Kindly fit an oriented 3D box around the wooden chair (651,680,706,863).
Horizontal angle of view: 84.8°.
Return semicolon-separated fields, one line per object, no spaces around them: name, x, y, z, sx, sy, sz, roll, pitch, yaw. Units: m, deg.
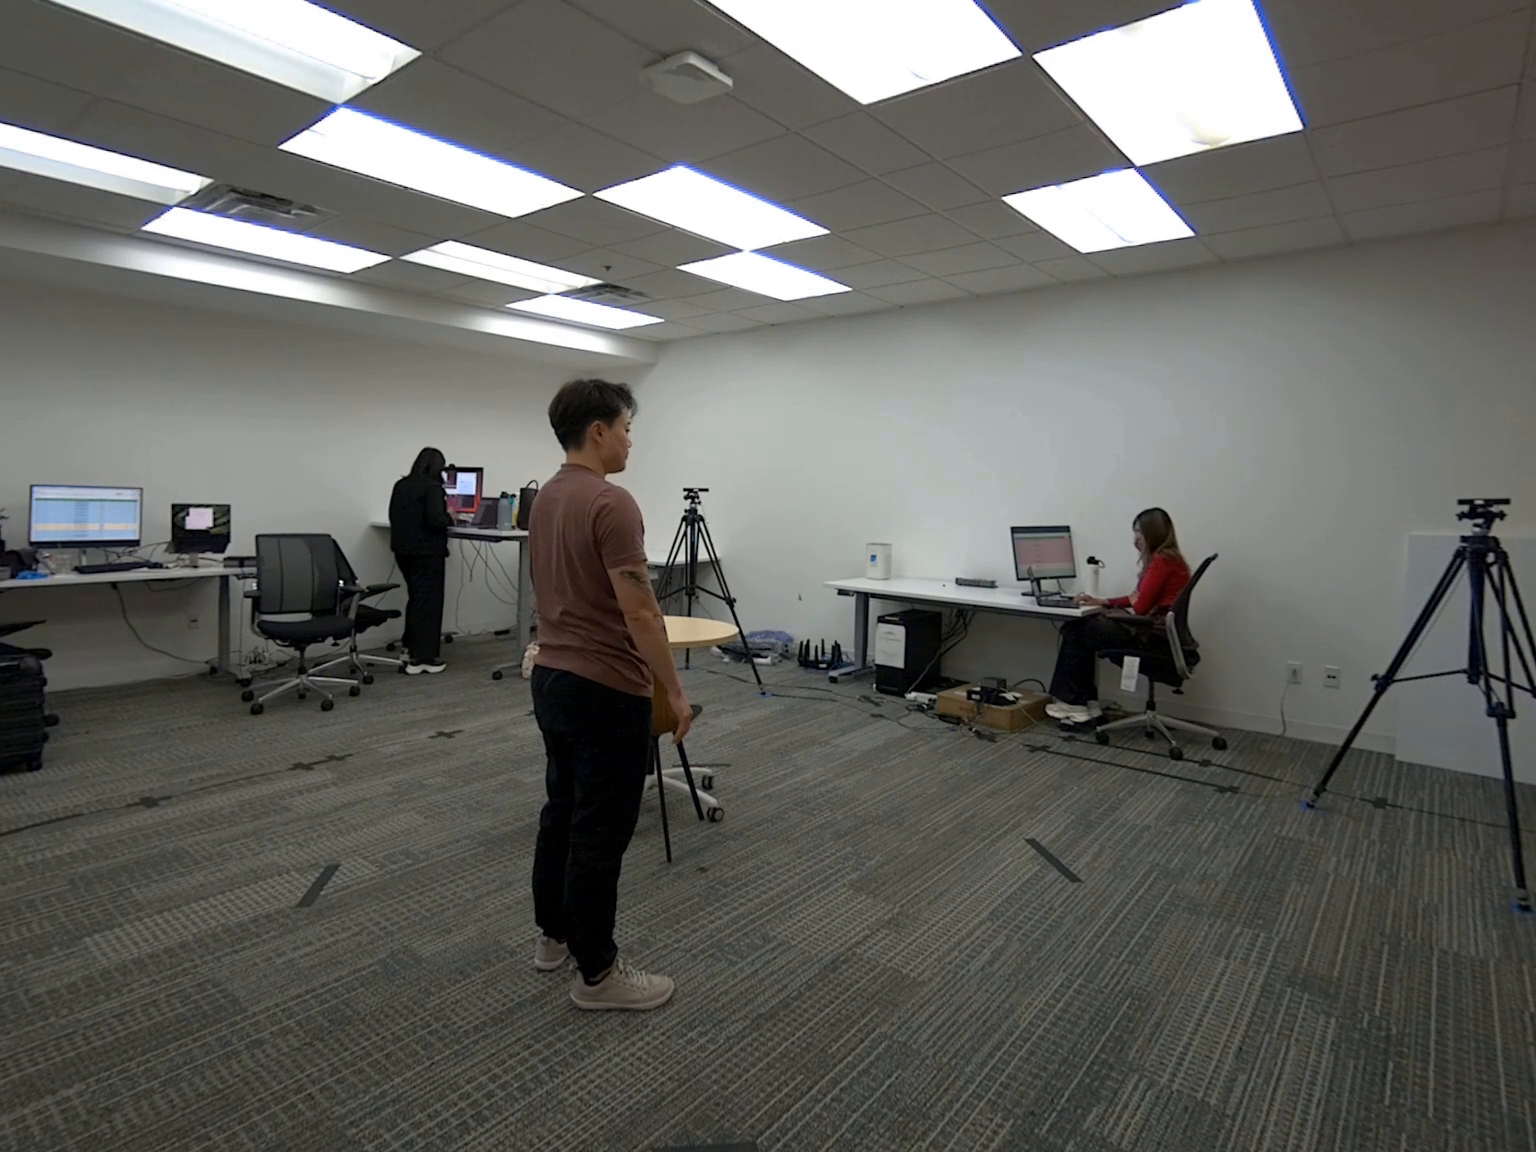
wooden chair;-0.532;0.601;3.402;0.486;0.872;0.518;1;7;14
